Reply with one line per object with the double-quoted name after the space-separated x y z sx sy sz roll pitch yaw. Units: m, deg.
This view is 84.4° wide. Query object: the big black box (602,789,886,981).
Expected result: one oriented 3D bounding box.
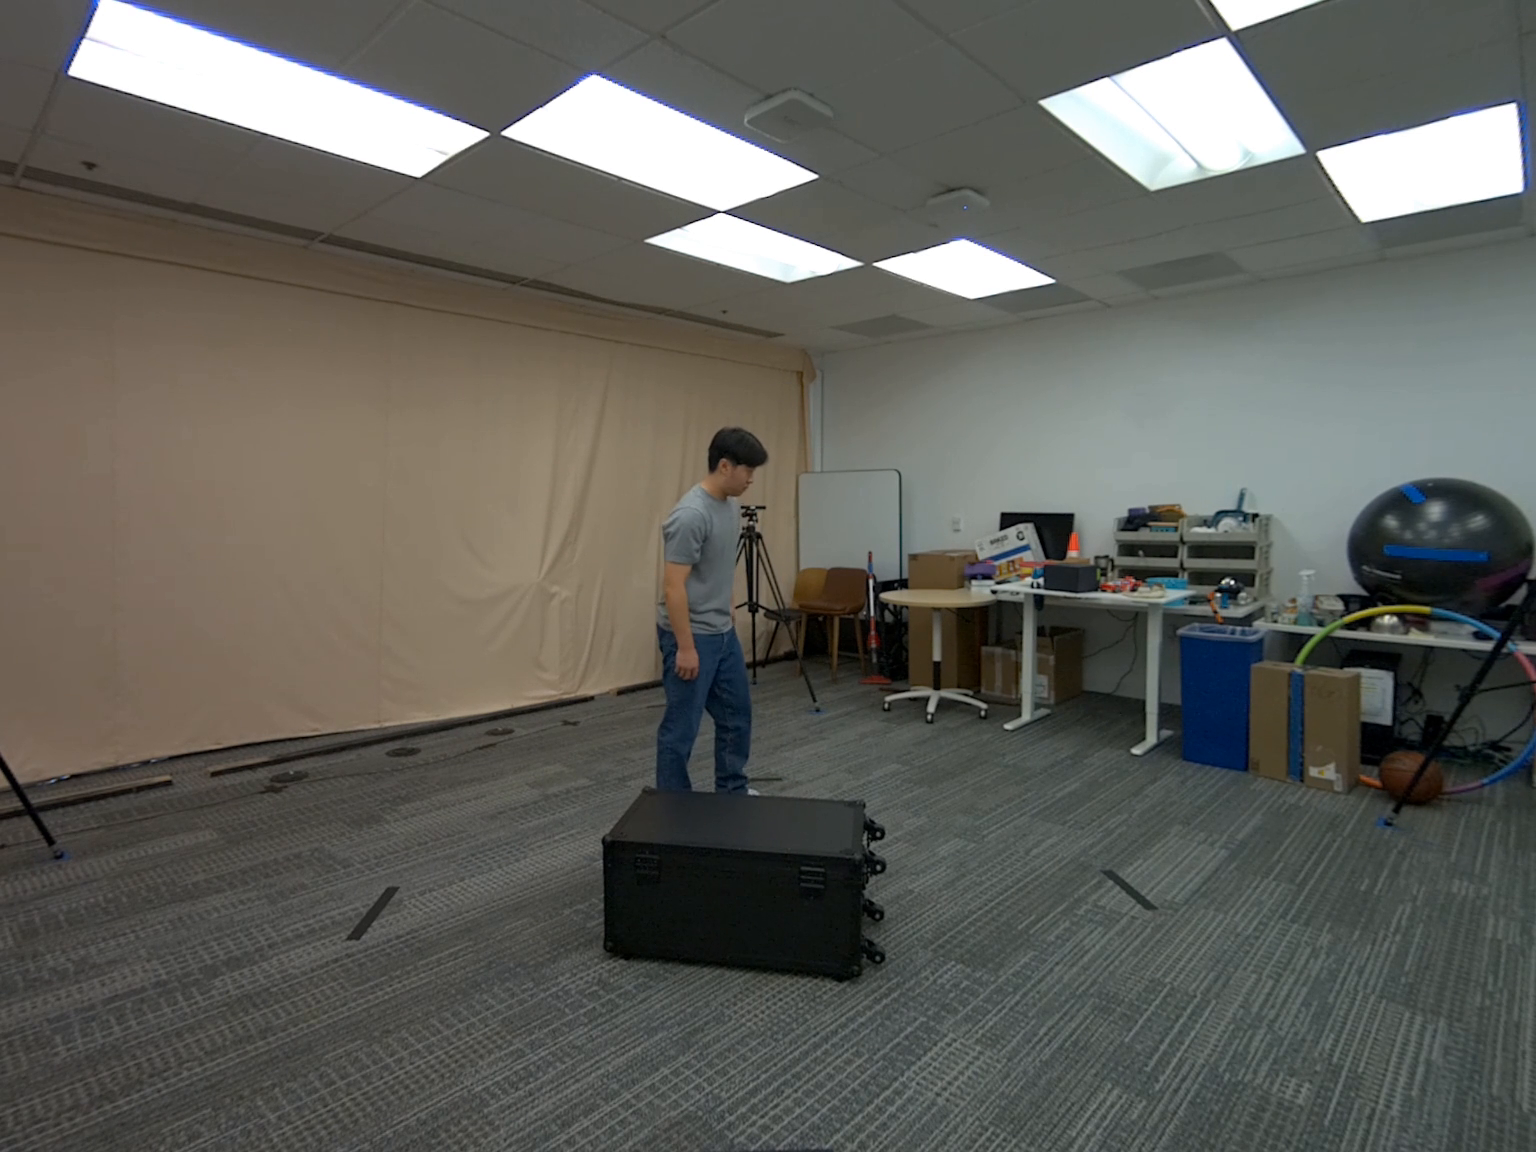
-0.049 0.972 2.731 0.871 0.395 0.516 0 3 10 "big black box"
